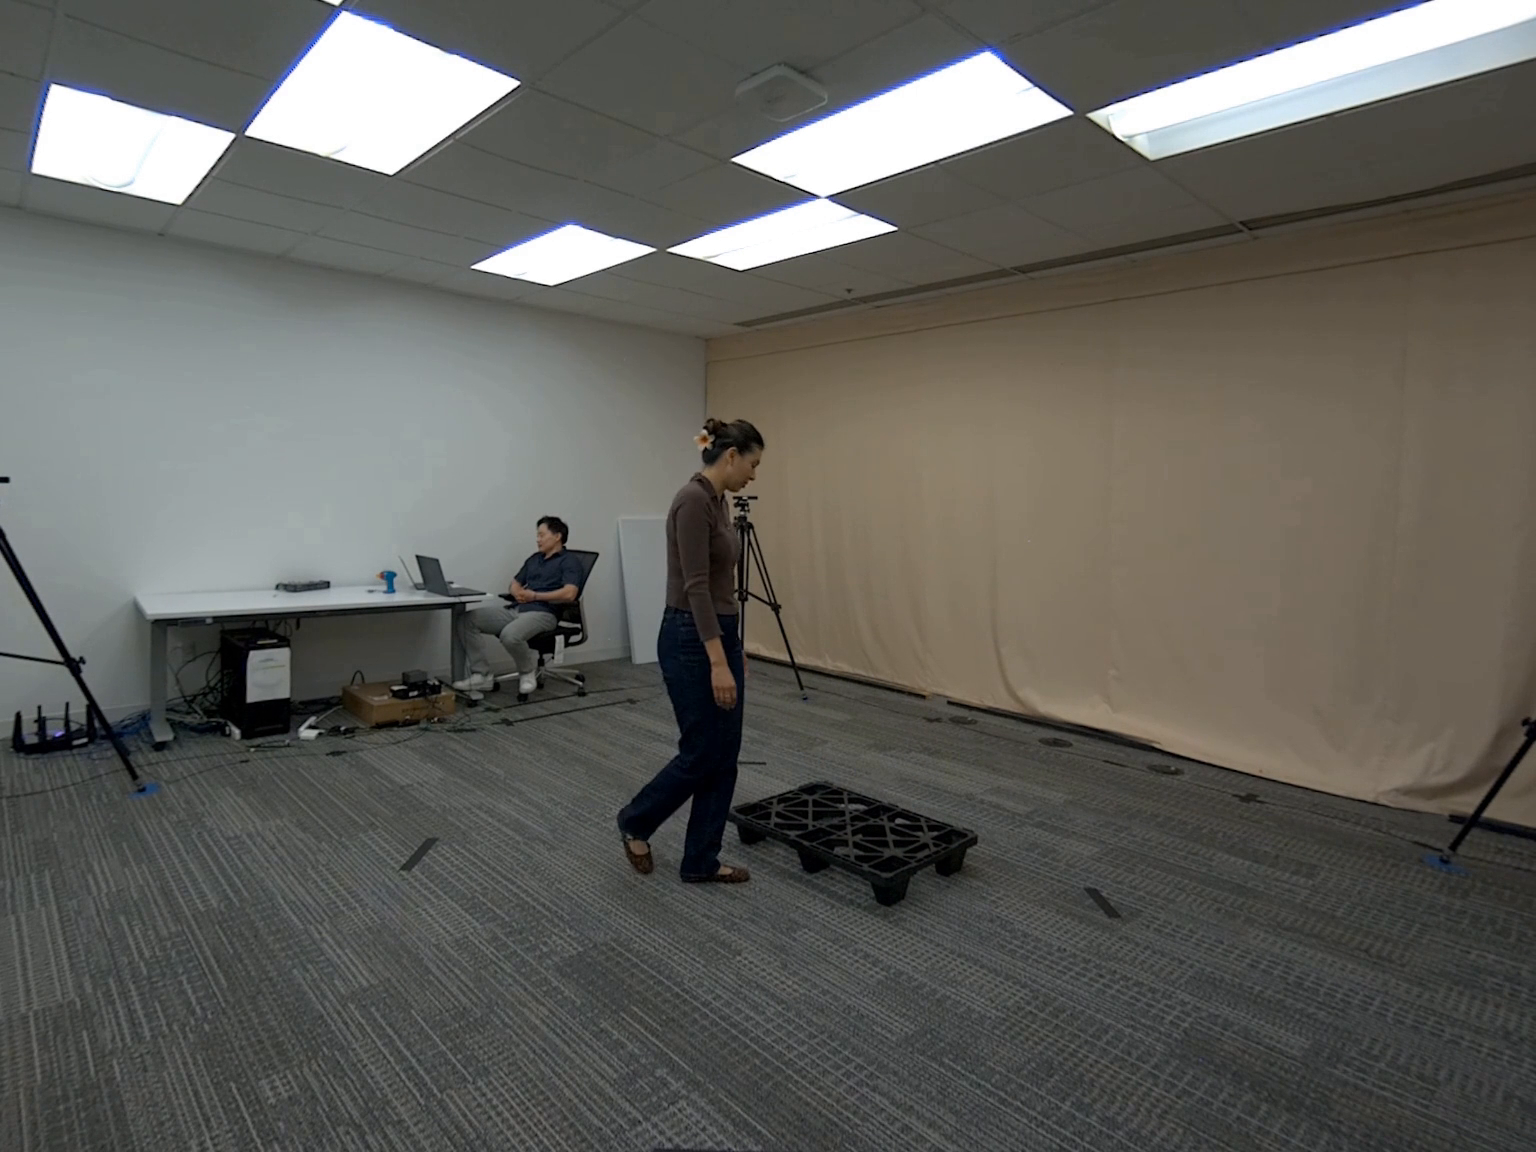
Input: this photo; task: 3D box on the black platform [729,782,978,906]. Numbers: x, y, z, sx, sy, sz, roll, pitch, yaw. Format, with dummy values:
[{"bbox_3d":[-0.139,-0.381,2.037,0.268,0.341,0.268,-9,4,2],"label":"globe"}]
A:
[{"bbox_3d":[0.305,1.031,3.293,0.591,0.143,0.826,-4,7,-45],"label":"black platform"}]
